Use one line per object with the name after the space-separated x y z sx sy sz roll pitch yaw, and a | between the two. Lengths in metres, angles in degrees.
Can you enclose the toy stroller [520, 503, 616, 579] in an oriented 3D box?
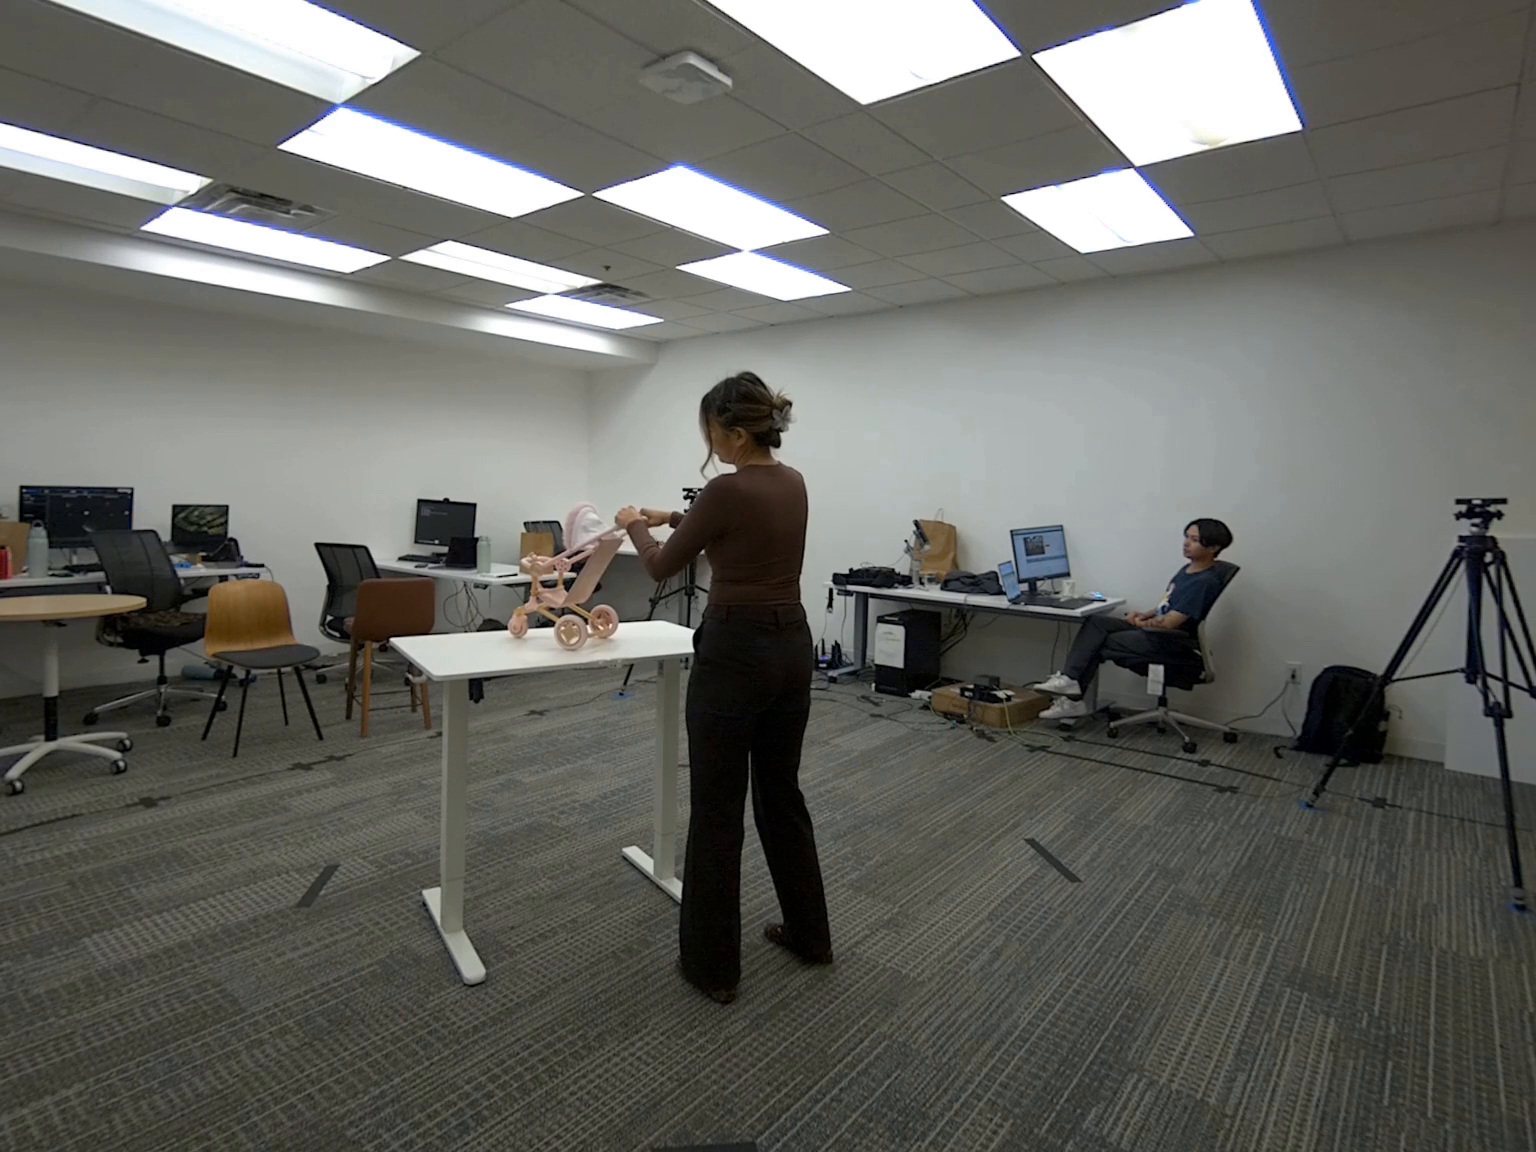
-0.637 -0.005 2.757 0.350 0.532 0.276 21 8 18 | toy stroller
